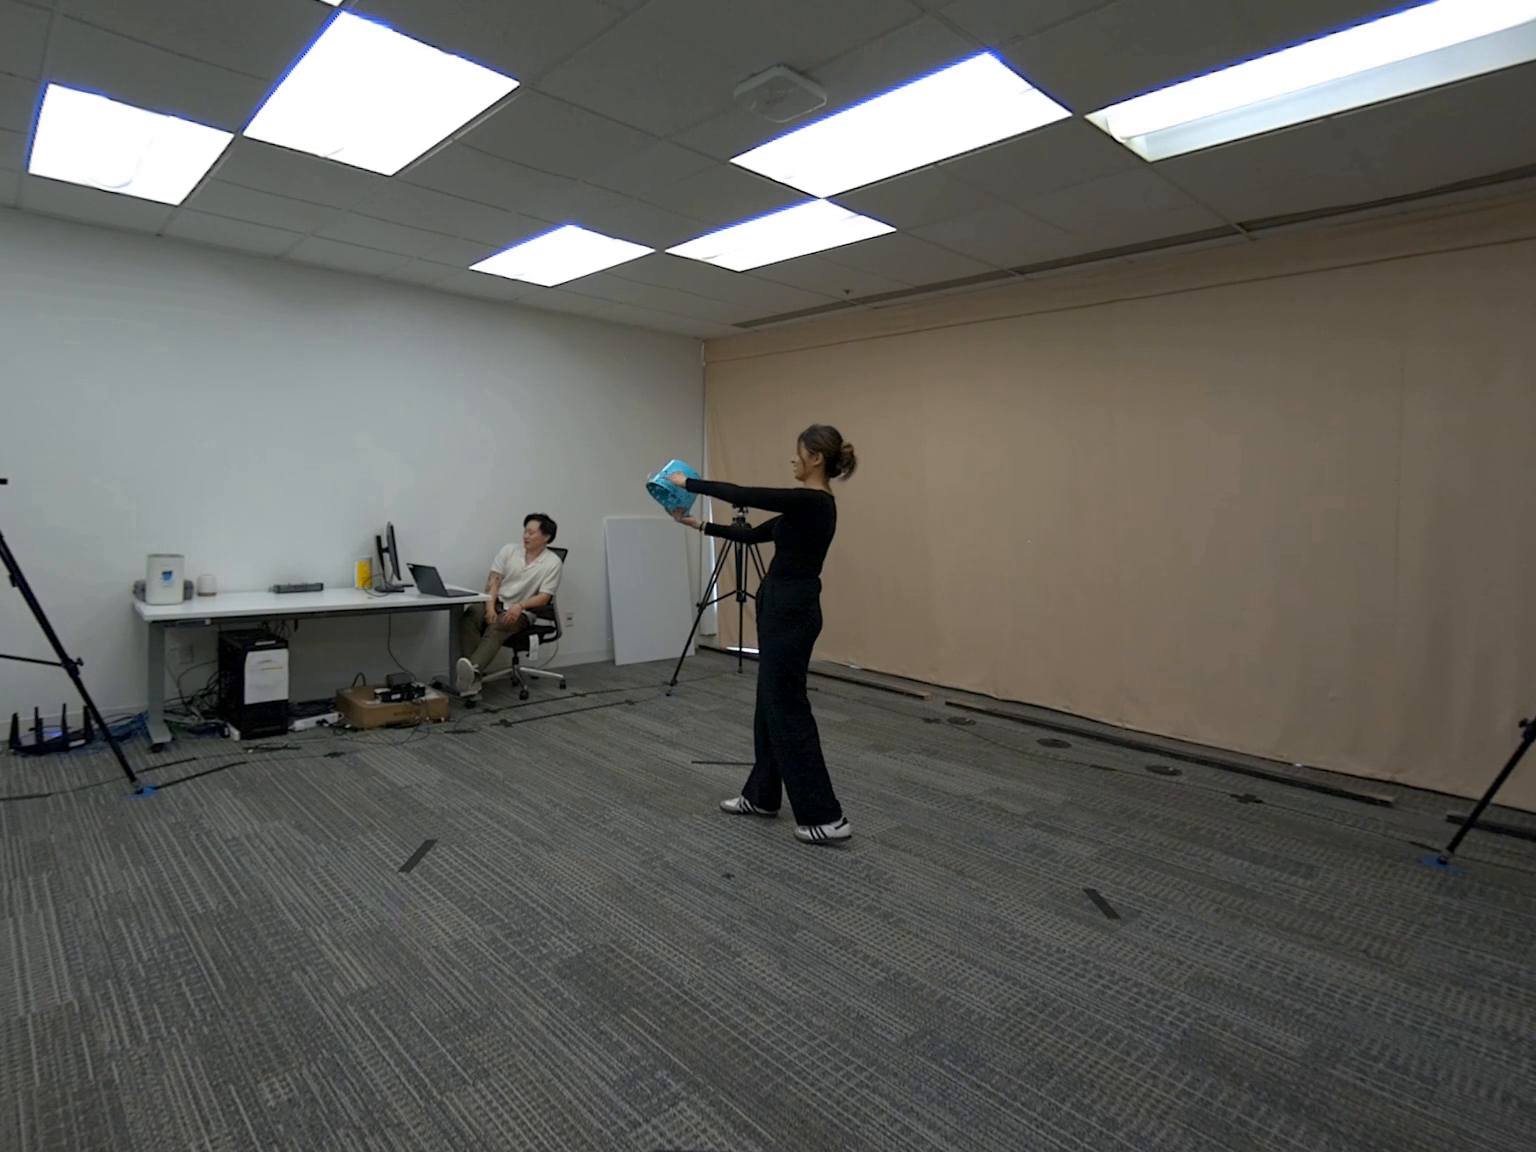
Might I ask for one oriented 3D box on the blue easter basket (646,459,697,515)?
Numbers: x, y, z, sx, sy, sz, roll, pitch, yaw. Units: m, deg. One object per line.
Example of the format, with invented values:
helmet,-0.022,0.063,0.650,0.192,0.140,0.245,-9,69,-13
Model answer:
blue easter basket,-0.400,-0.393,3.694,0.247,0.156,0.240,32,-20,12
